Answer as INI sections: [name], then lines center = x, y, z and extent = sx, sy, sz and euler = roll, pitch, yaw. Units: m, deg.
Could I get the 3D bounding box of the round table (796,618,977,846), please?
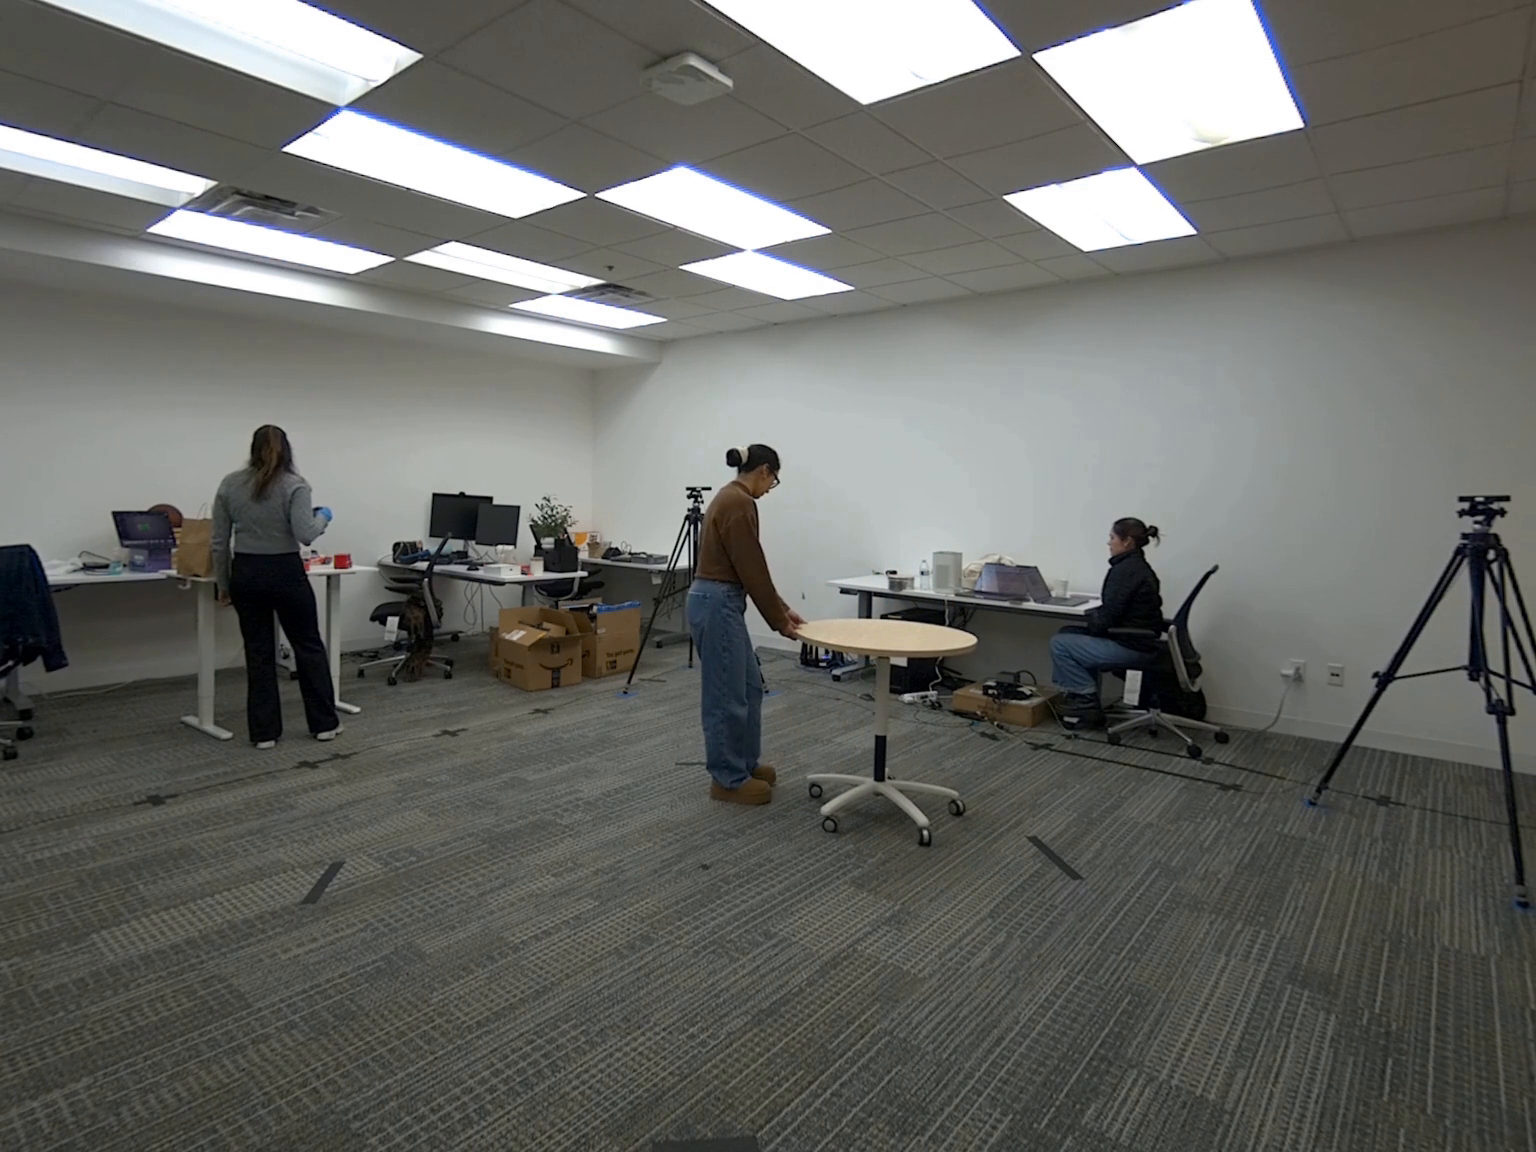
[round table]
center = 0.479, 0.636, 3.669
extent = 0.763, 0.791, 0.768
euler = 2, 4, -2
